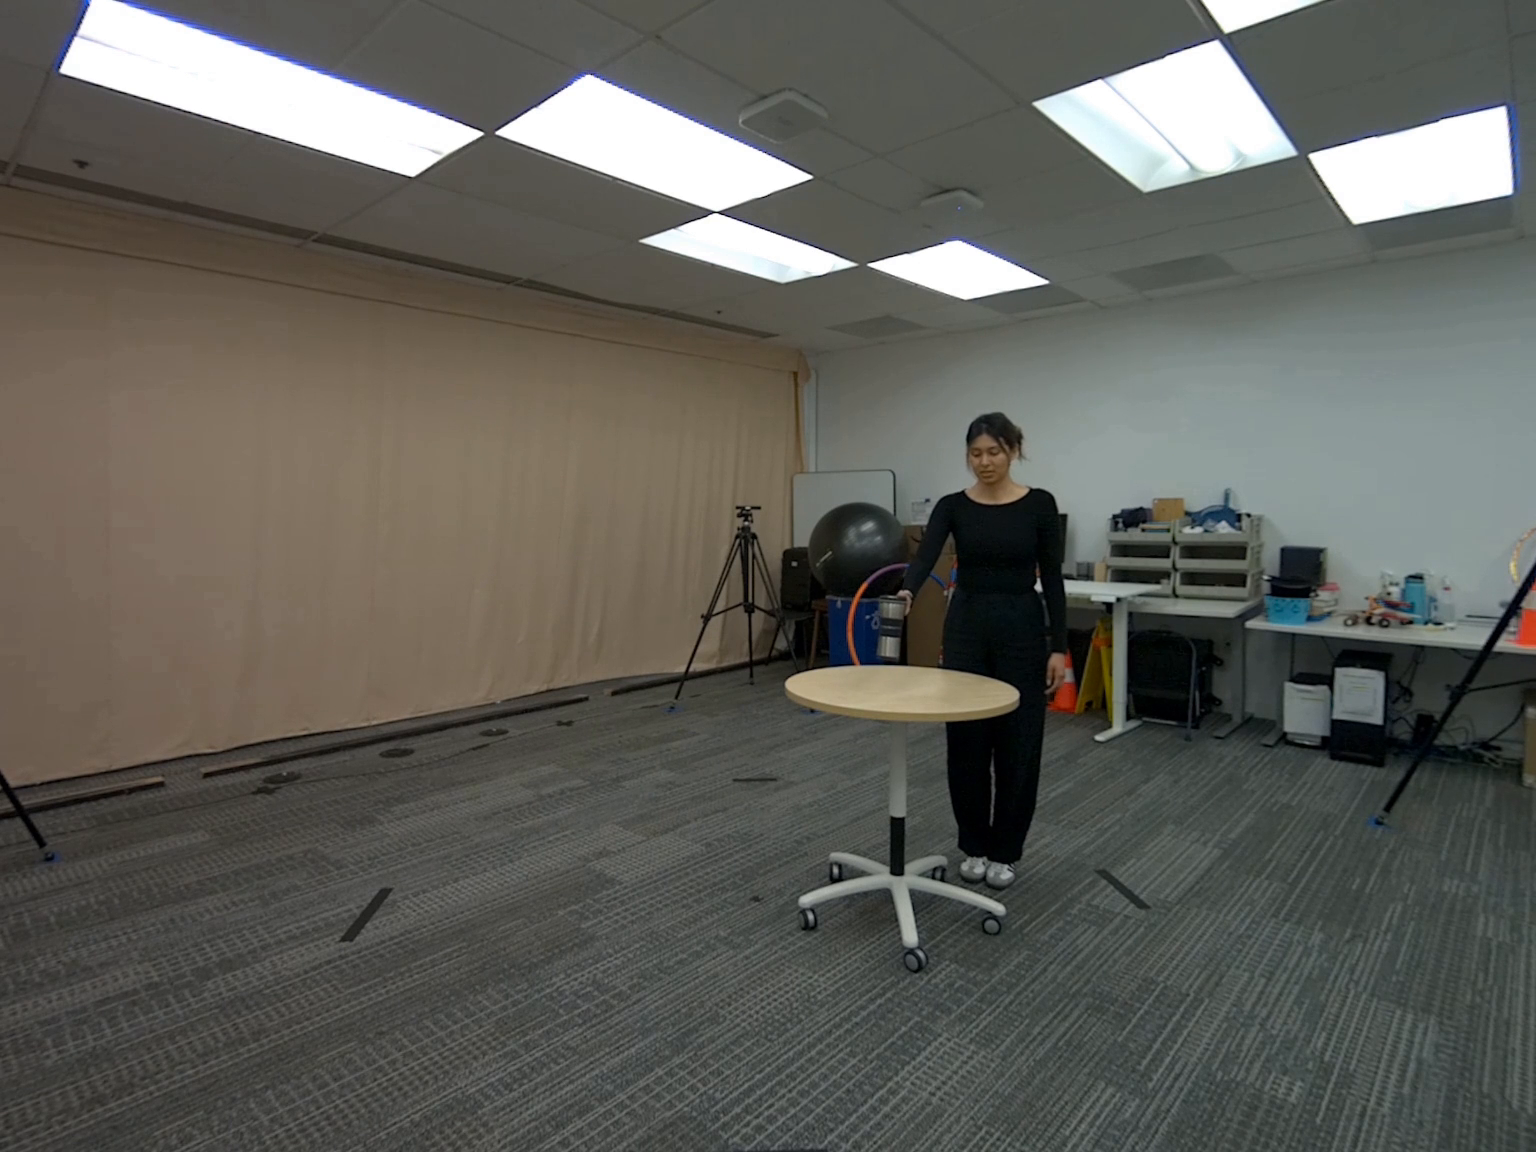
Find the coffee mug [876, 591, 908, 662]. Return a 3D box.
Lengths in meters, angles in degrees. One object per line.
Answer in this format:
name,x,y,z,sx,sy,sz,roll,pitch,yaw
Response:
coffee mug,0.414,0.167,2.691,0.118,0.203,0.090,2,-4,-30
